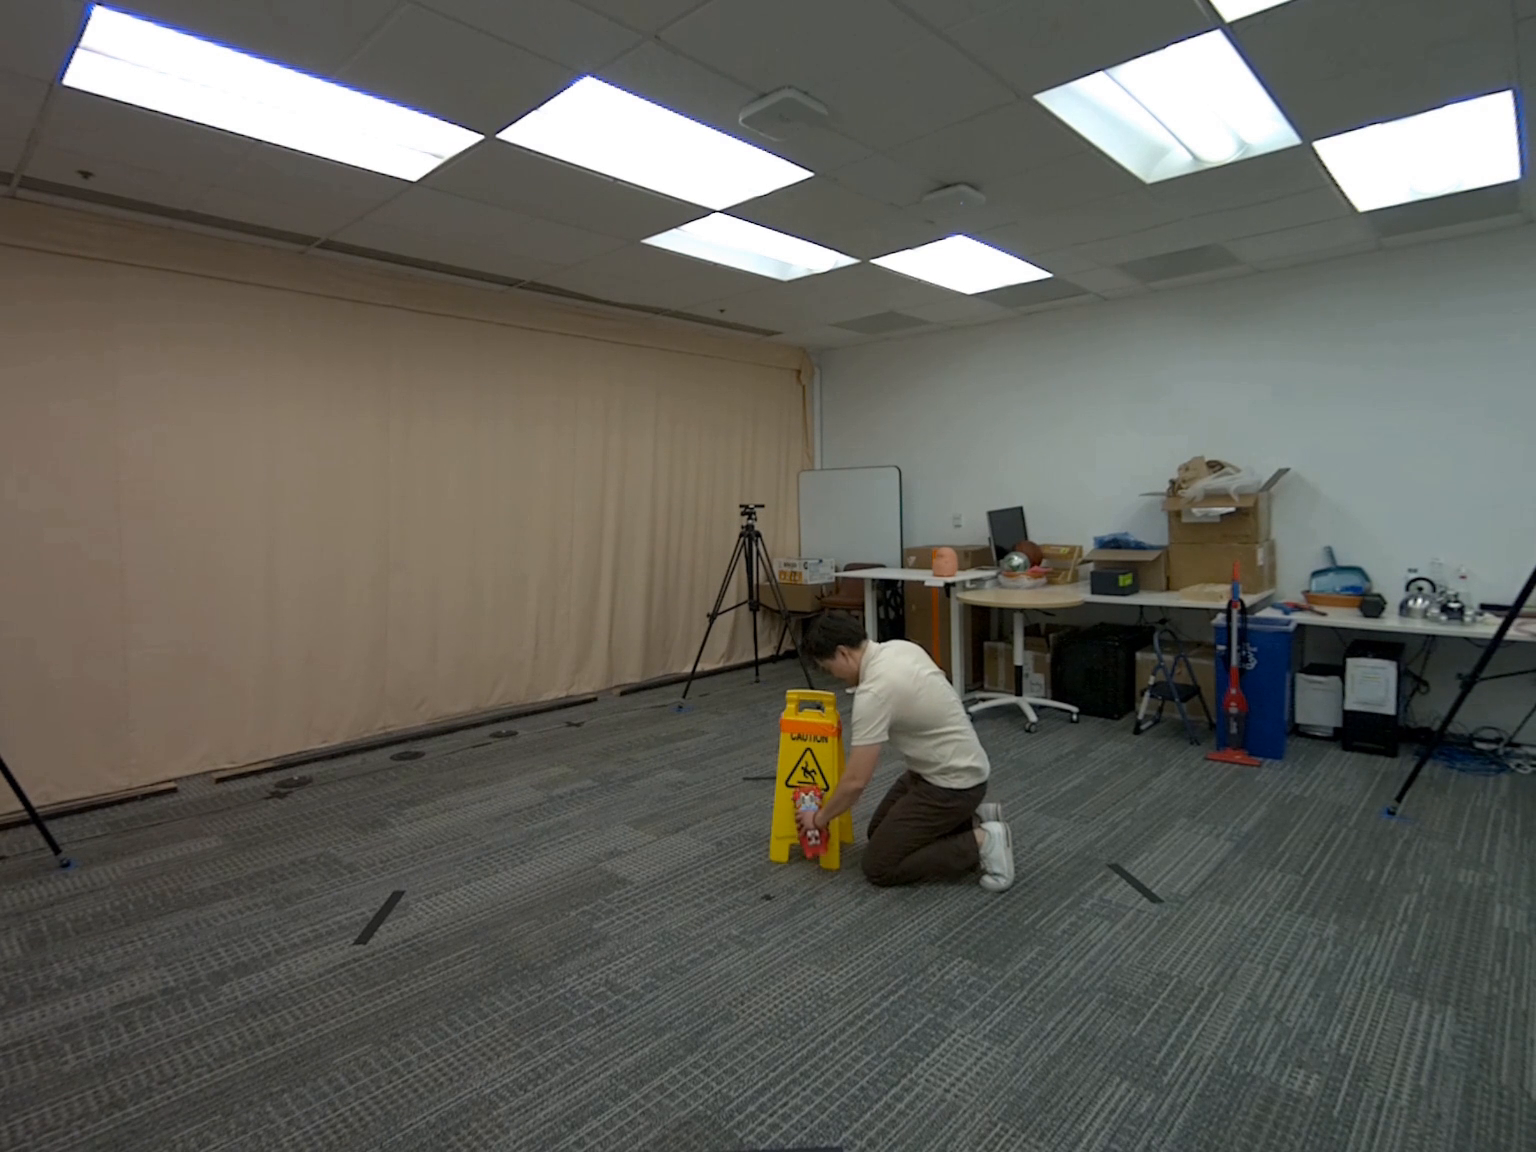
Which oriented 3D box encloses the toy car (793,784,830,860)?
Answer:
[{"bbox_3d":[0.175,0.931,3.194,0.131,0.259,0.081,-12,-27,10],"label":"toy car"}]
